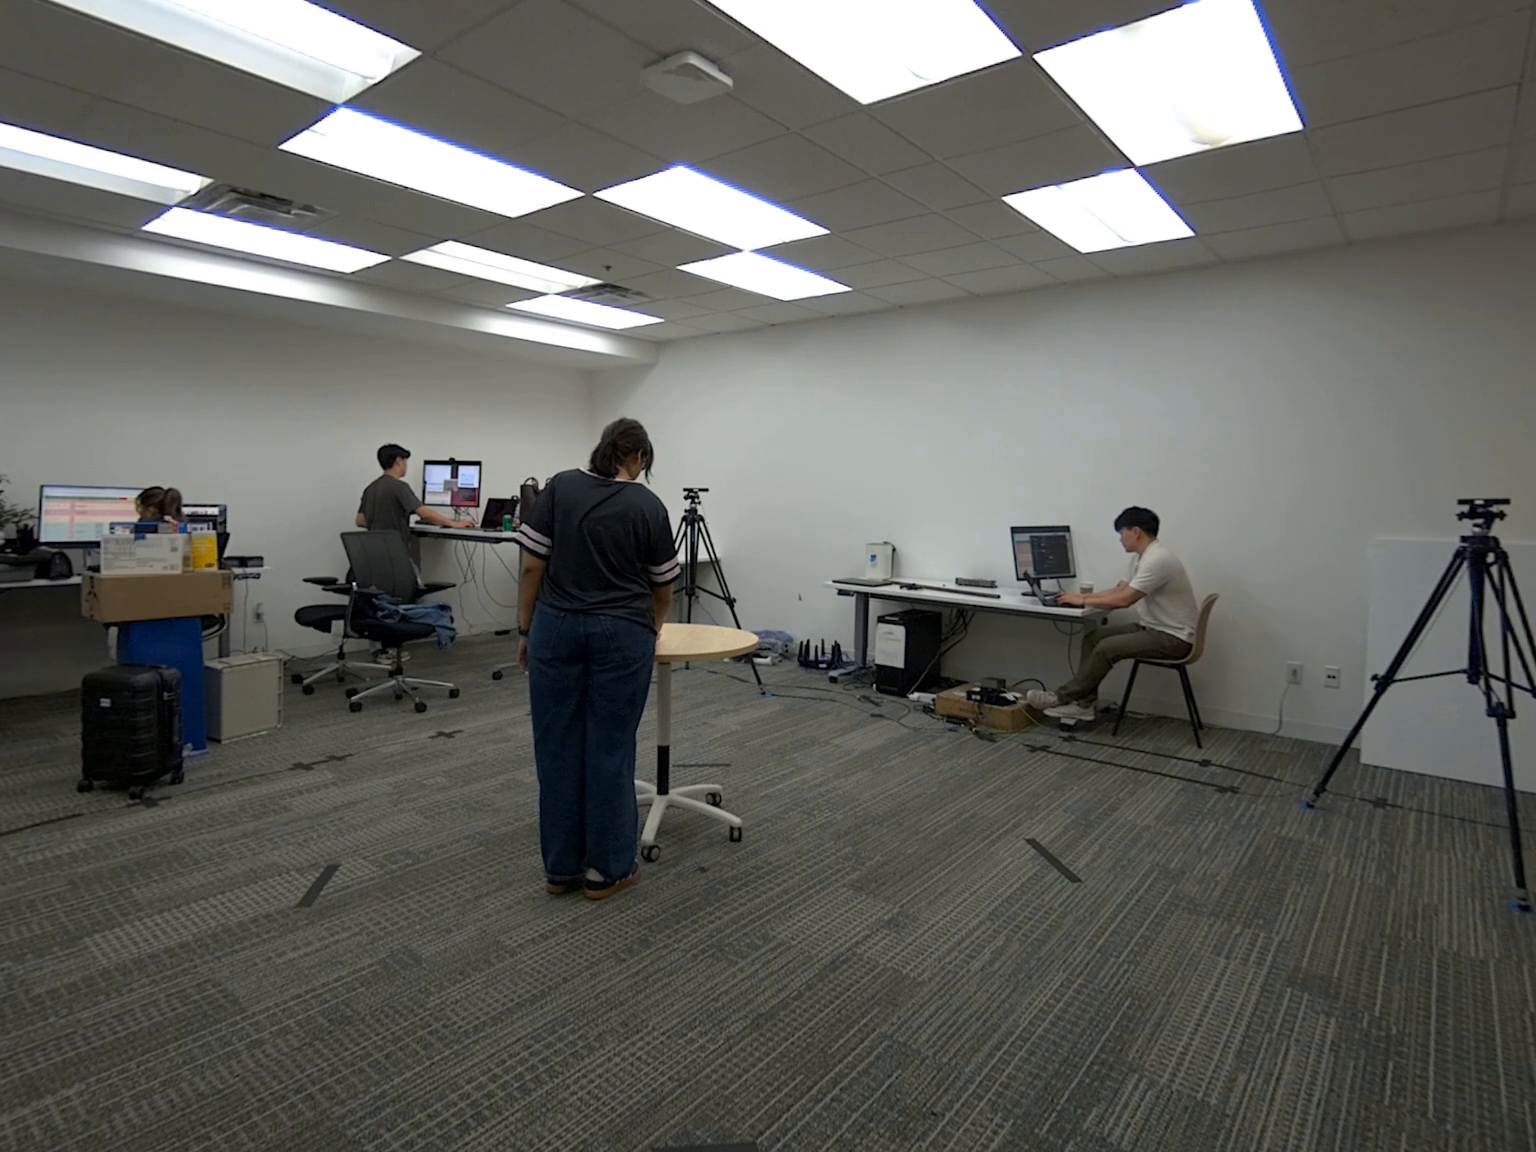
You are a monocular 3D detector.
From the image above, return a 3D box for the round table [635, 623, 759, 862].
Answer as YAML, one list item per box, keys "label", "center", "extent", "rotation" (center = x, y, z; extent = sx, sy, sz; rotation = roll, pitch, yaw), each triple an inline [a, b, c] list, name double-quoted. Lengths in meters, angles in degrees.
- label: "round table"
  center: [-0.447, 0.637, 3.482]
  extent: [0.784, 0.784, 0.789]
  rotation: [1, 4, -2]
